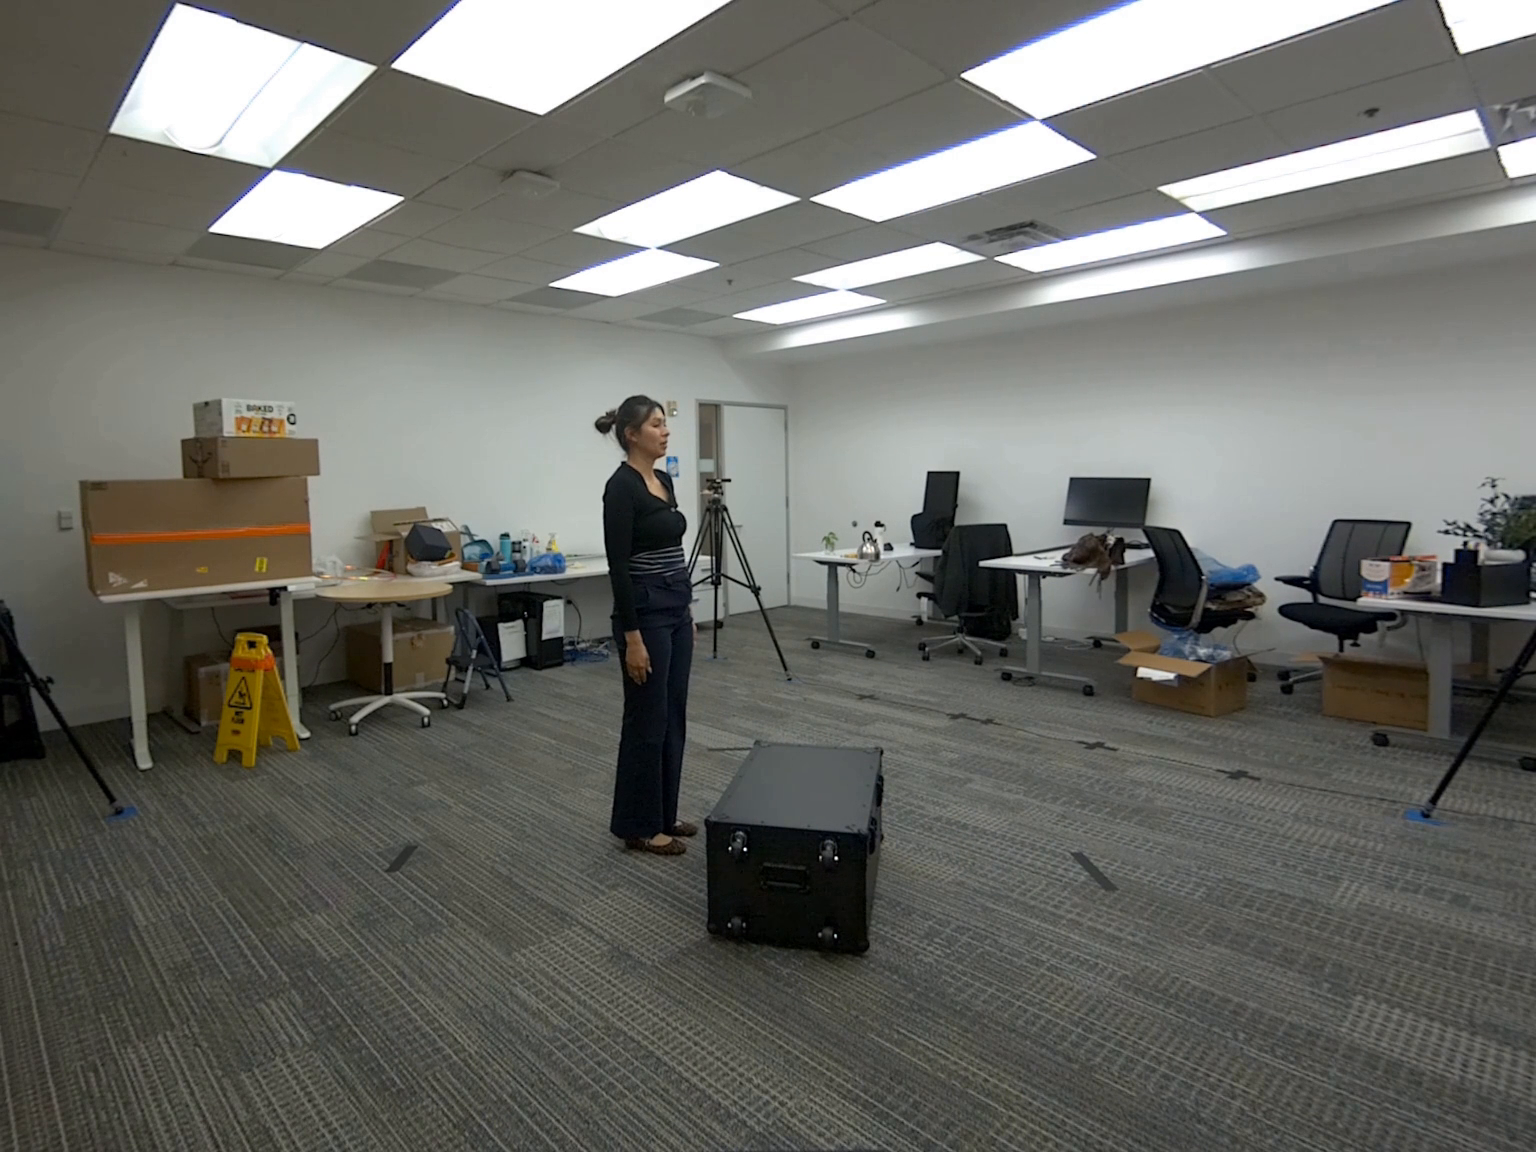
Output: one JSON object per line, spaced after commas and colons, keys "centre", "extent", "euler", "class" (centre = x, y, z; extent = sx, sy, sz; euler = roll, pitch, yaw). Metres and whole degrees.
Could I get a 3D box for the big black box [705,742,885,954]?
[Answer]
{"centre": [0.114, 0.876, 2.858], "extent": [0.528, 0.395, 0.854], "euler": [0, 5, 12], "class": "big black box"}
